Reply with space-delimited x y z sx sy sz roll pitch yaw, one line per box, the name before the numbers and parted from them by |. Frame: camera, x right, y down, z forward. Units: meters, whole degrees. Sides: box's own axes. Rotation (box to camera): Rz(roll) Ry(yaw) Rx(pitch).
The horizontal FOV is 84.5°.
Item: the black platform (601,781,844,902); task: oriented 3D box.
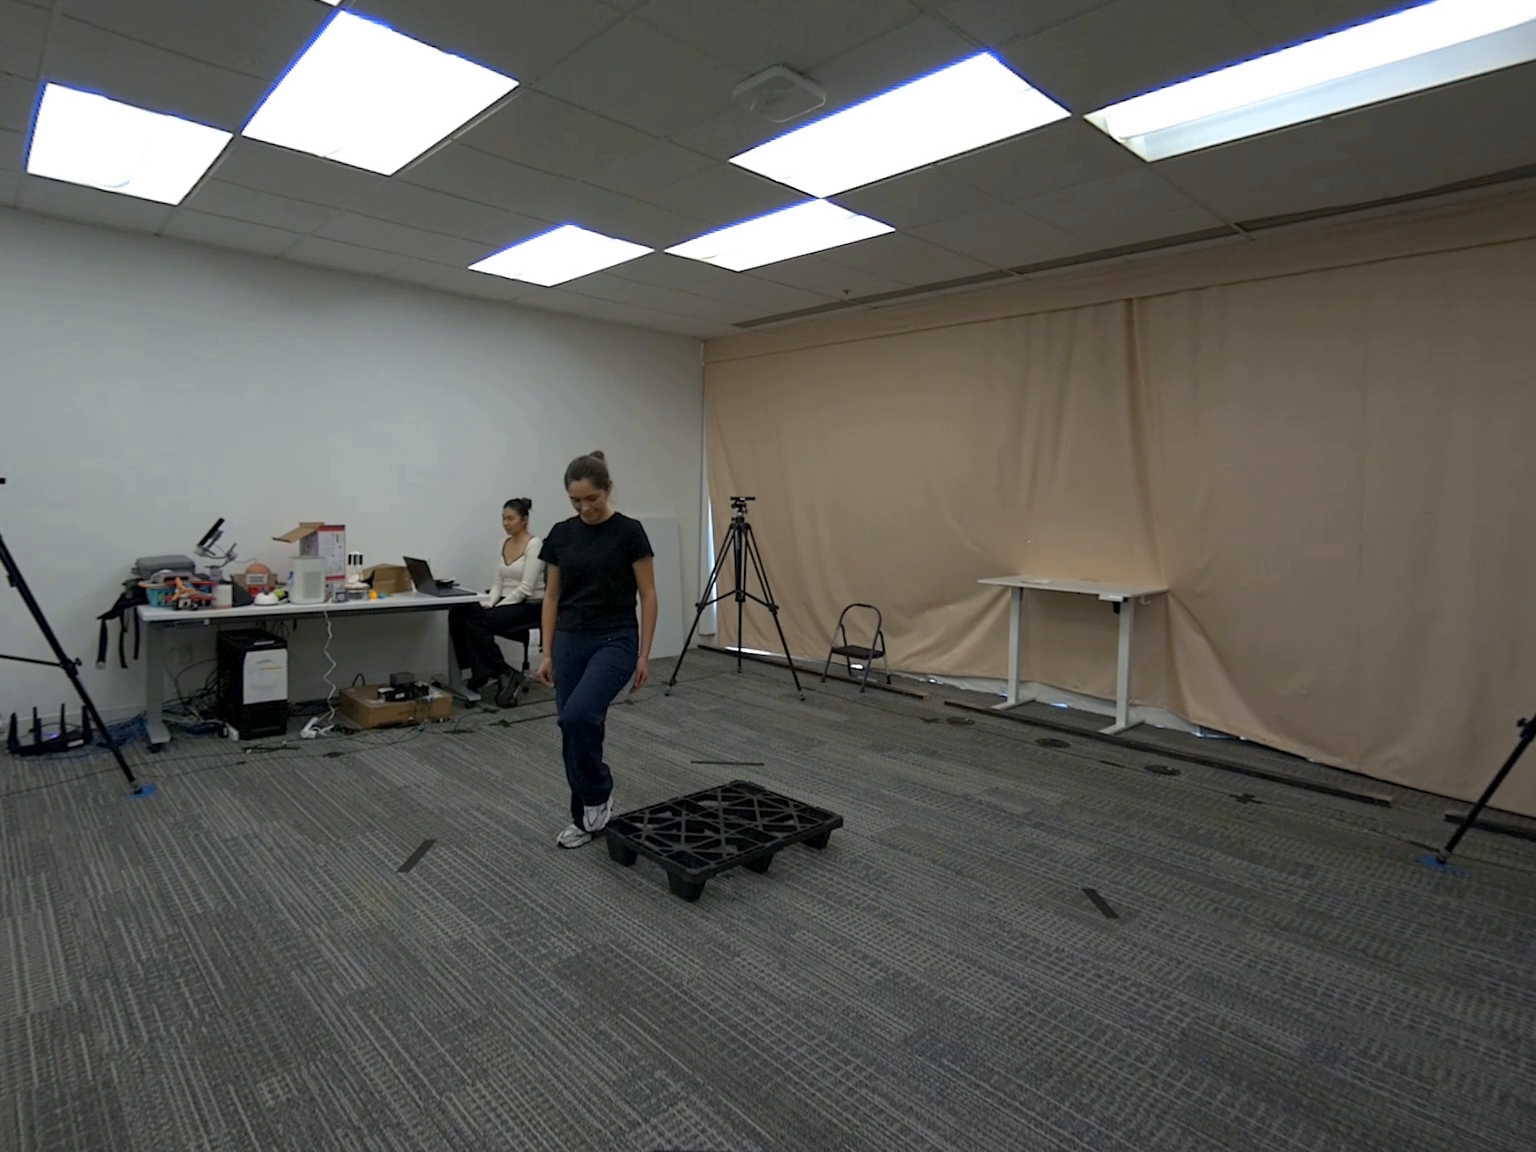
black platform | -0.195 1.024 3.292 0.620 0.143 0.787 6 6 45
